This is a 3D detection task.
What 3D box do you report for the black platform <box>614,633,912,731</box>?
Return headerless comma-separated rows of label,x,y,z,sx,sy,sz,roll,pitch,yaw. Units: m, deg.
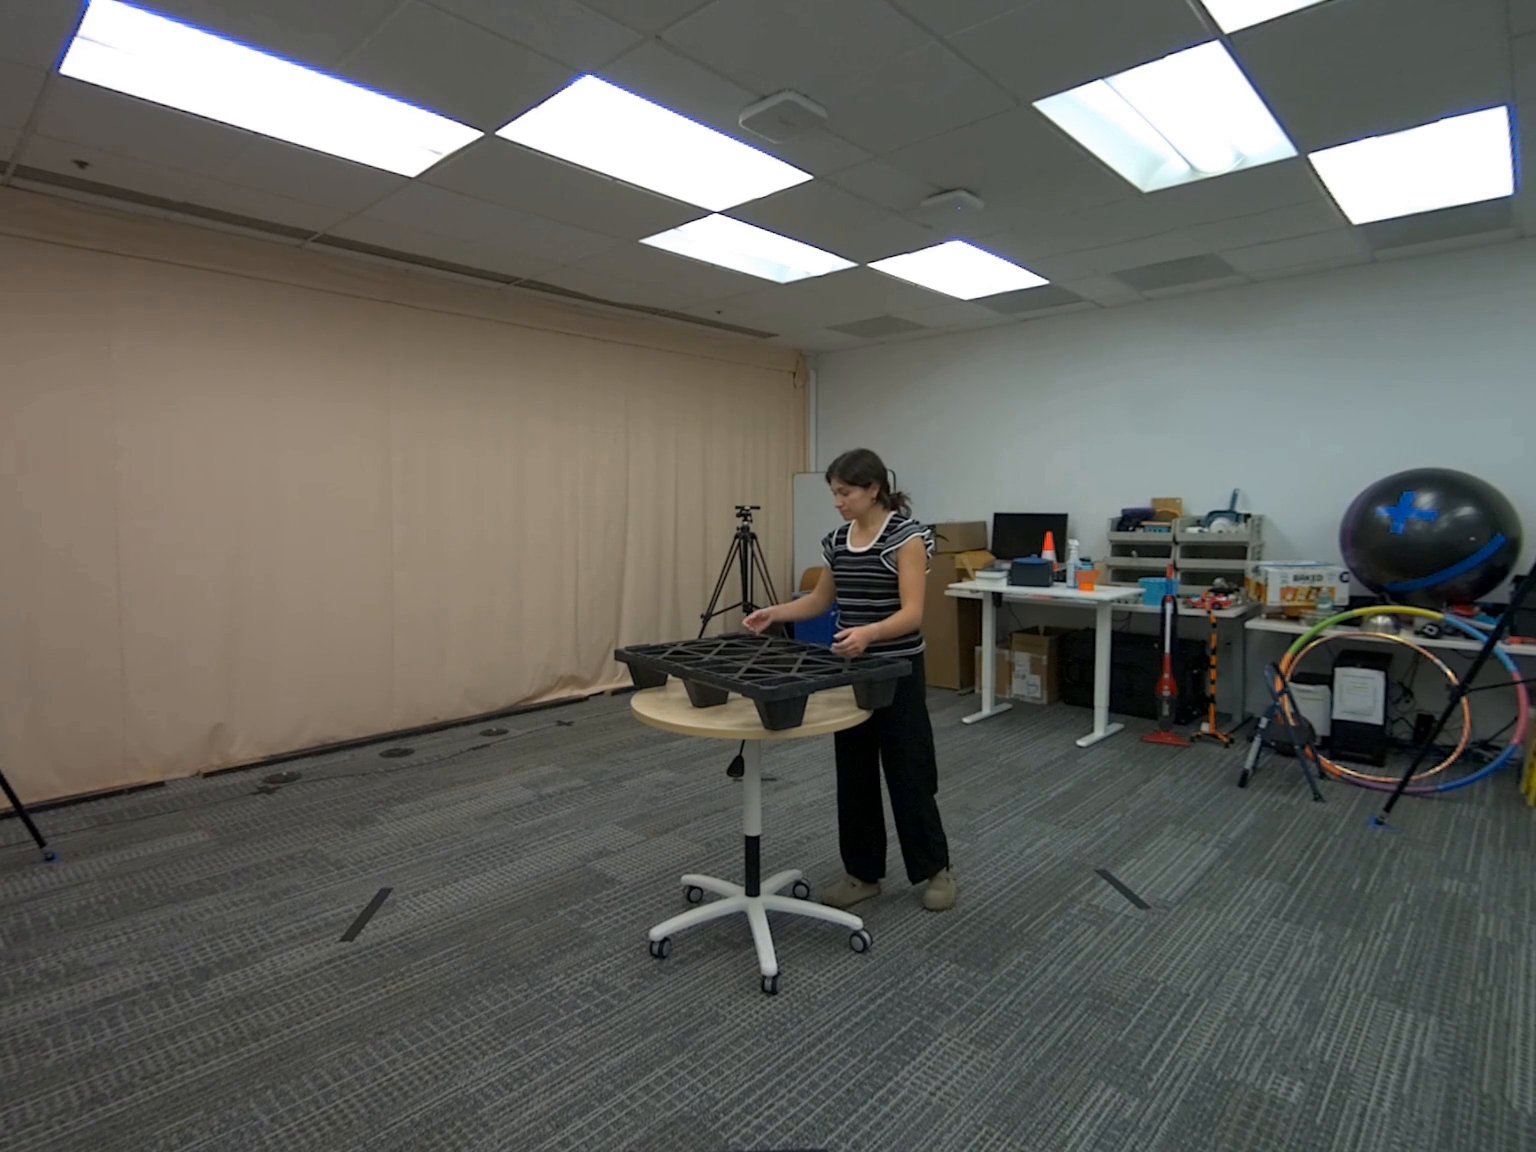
black platform,-0.032,0.326,2.694,0.587,0.143,0.832,-6,7,-38
